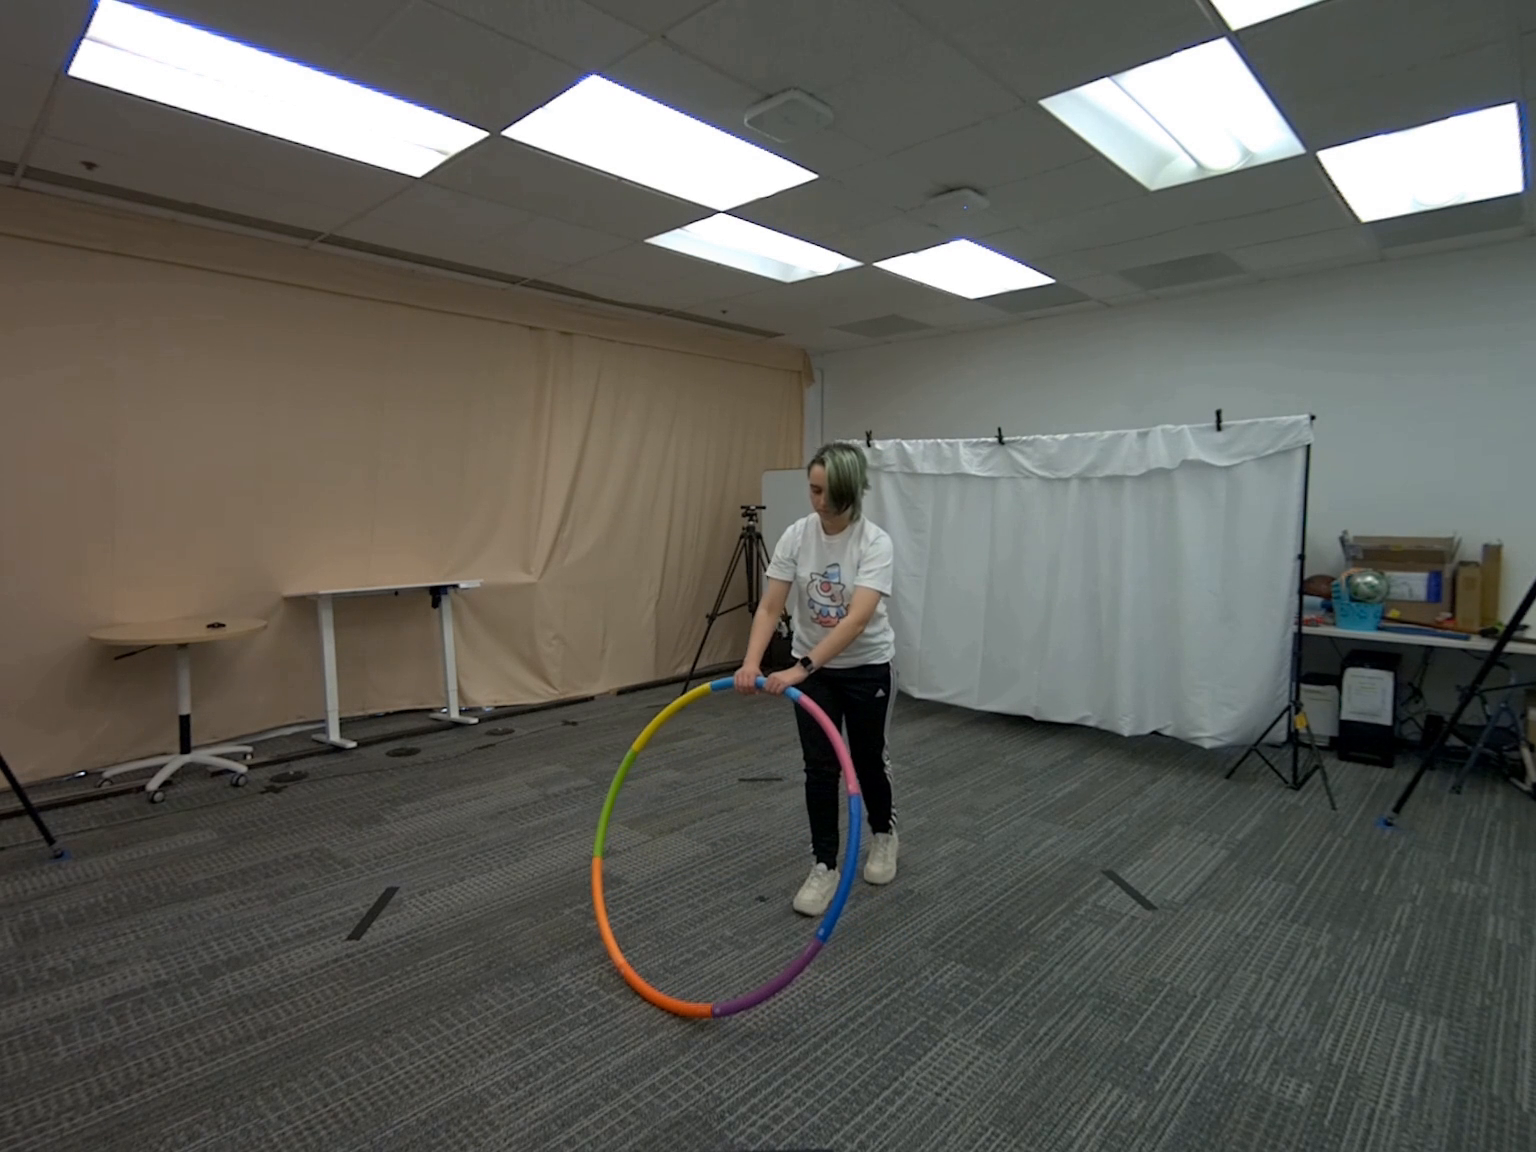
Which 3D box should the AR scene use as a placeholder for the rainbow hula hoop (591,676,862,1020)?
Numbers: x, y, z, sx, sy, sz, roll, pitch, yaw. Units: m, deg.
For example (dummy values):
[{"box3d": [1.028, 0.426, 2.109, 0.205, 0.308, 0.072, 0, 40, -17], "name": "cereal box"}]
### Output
[{"box3d": [-0.157, 0.761, 2.517, 1.011, 0.982, 0.034, 3, -26, 42], "name": "rainbow hula hoop"}]
